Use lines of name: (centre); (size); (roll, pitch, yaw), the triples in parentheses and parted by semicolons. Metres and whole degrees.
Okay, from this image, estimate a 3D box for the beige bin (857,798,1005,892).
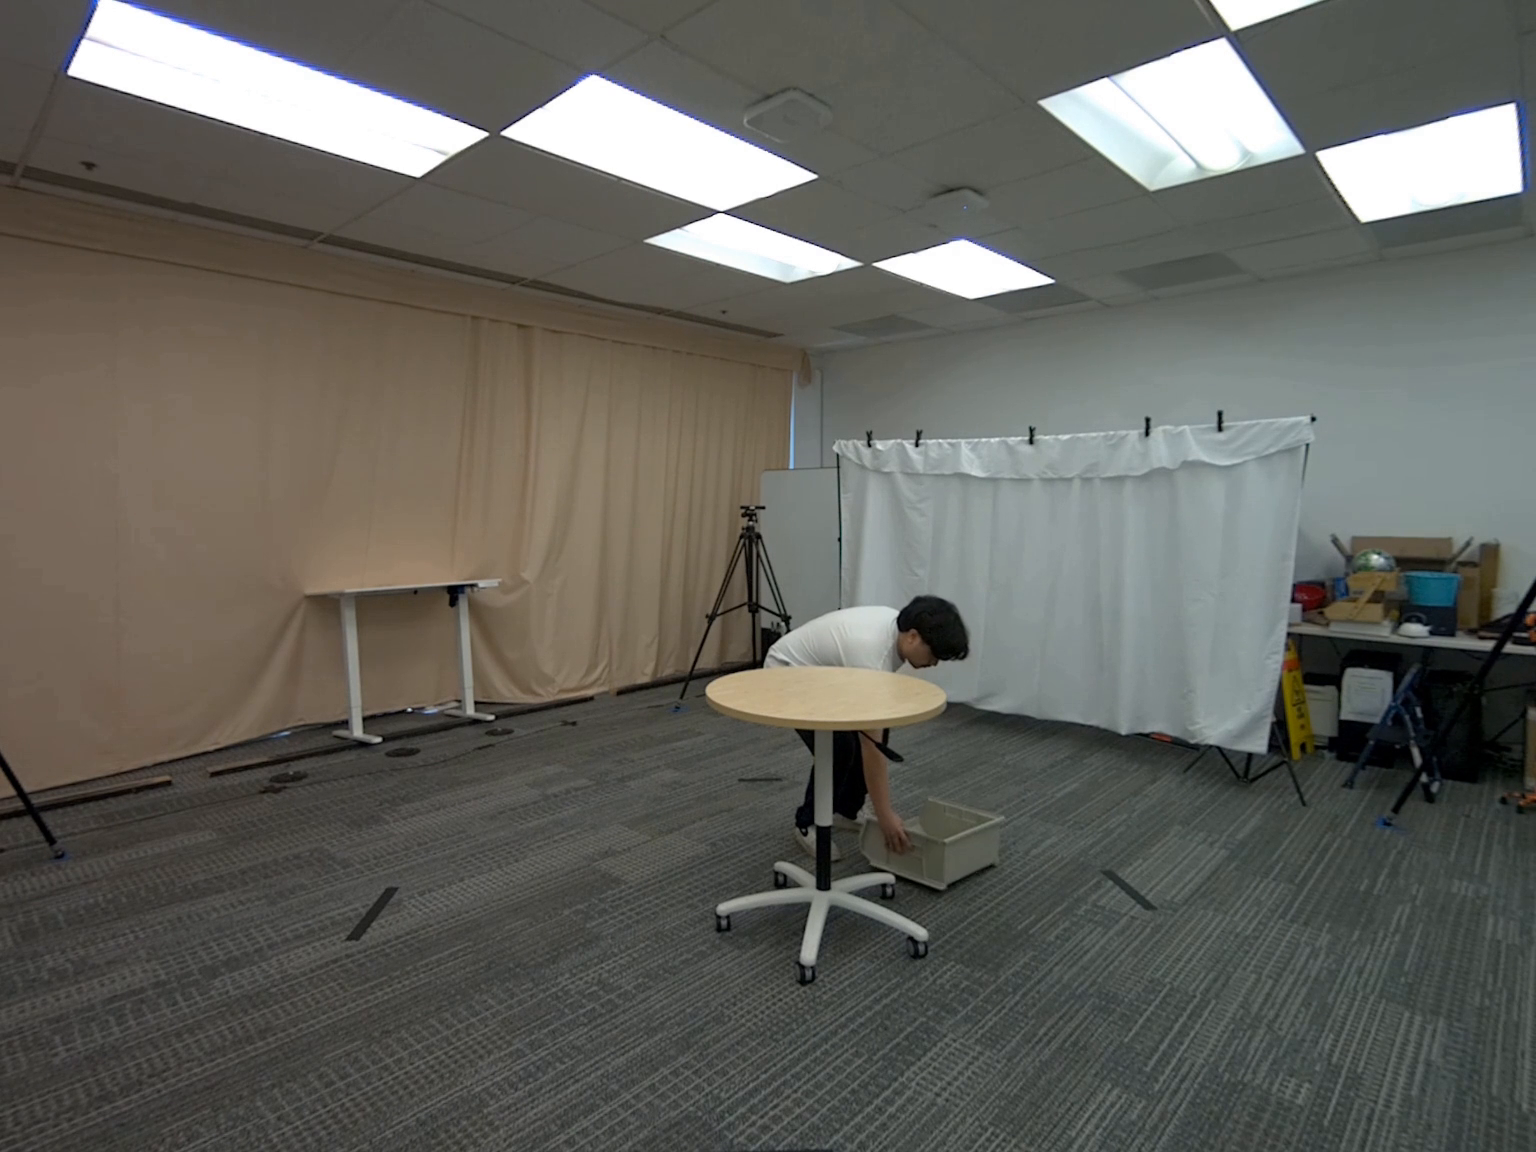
beige bin: (0.631, 1.005, 3.234); (0.390, 0.189, 0.409); (5, 5, 44)
